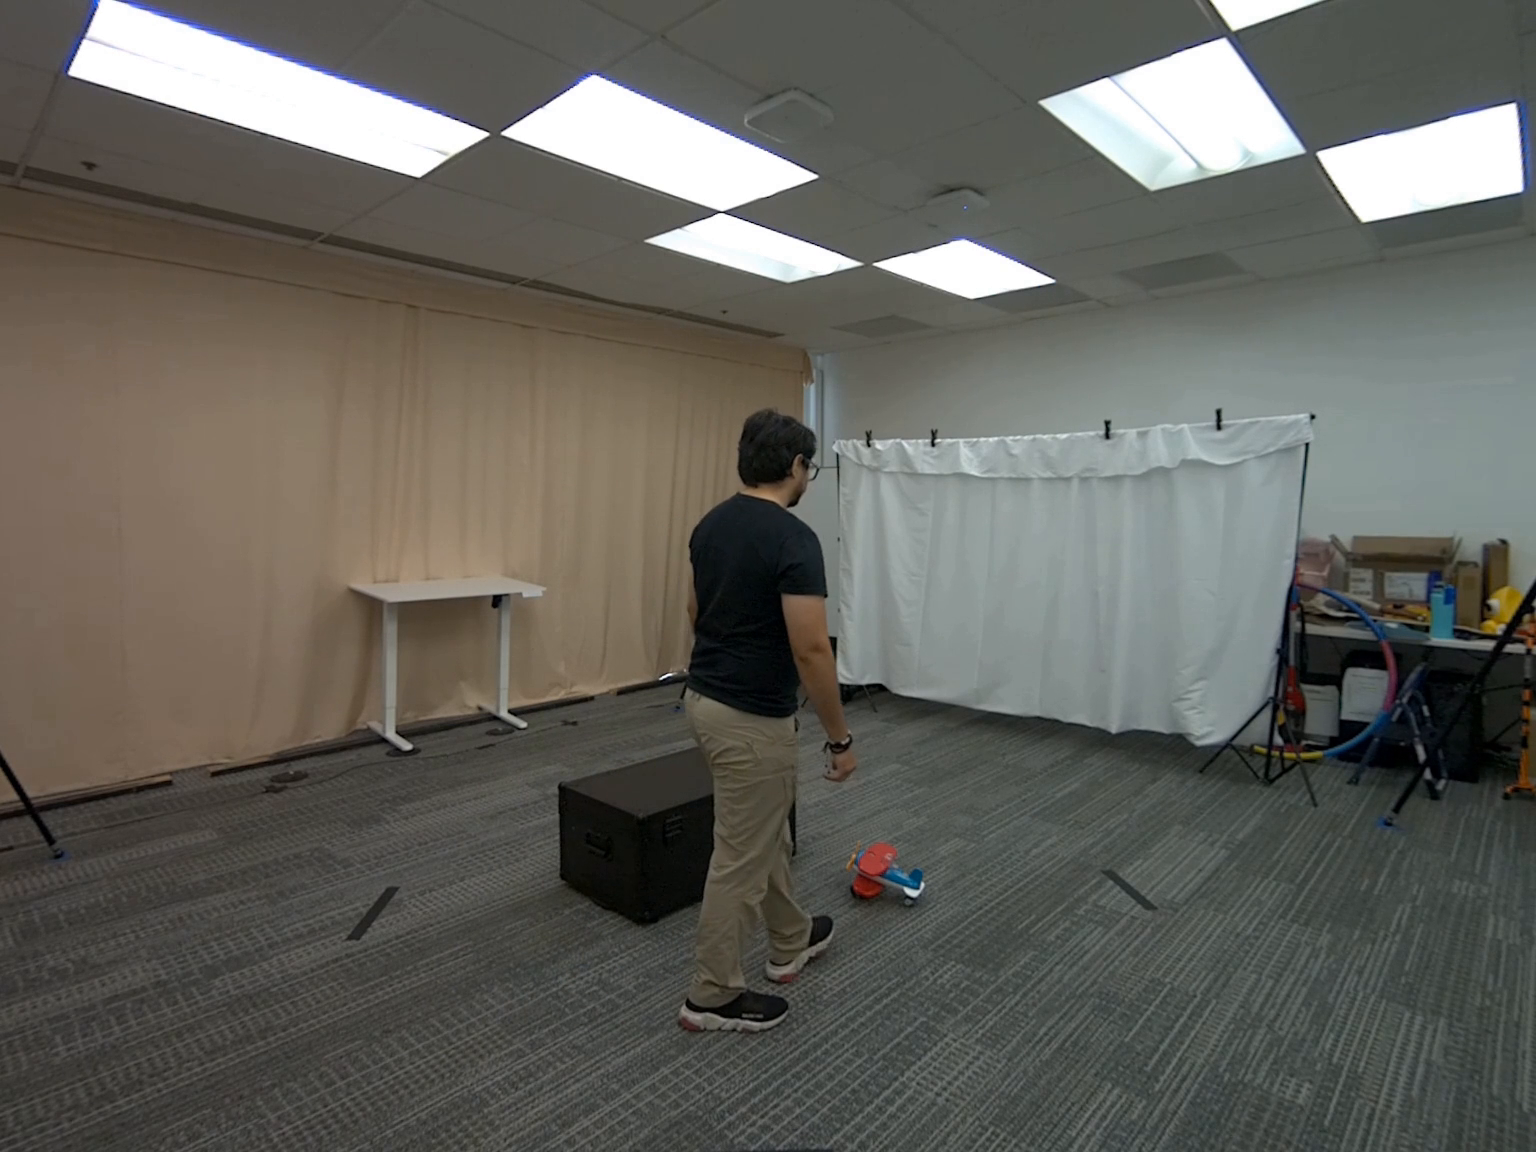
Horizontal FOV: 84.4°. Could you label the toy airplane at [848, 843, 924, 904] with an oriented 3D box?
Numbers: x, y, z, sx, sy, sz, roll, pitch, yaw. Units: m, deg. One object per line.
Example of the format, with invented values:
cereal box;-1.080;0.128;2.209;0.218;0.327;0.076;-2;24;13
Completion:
toy airplane;0.425;1.066;2.998;0.259;0.156;0.252;-2;5;0
